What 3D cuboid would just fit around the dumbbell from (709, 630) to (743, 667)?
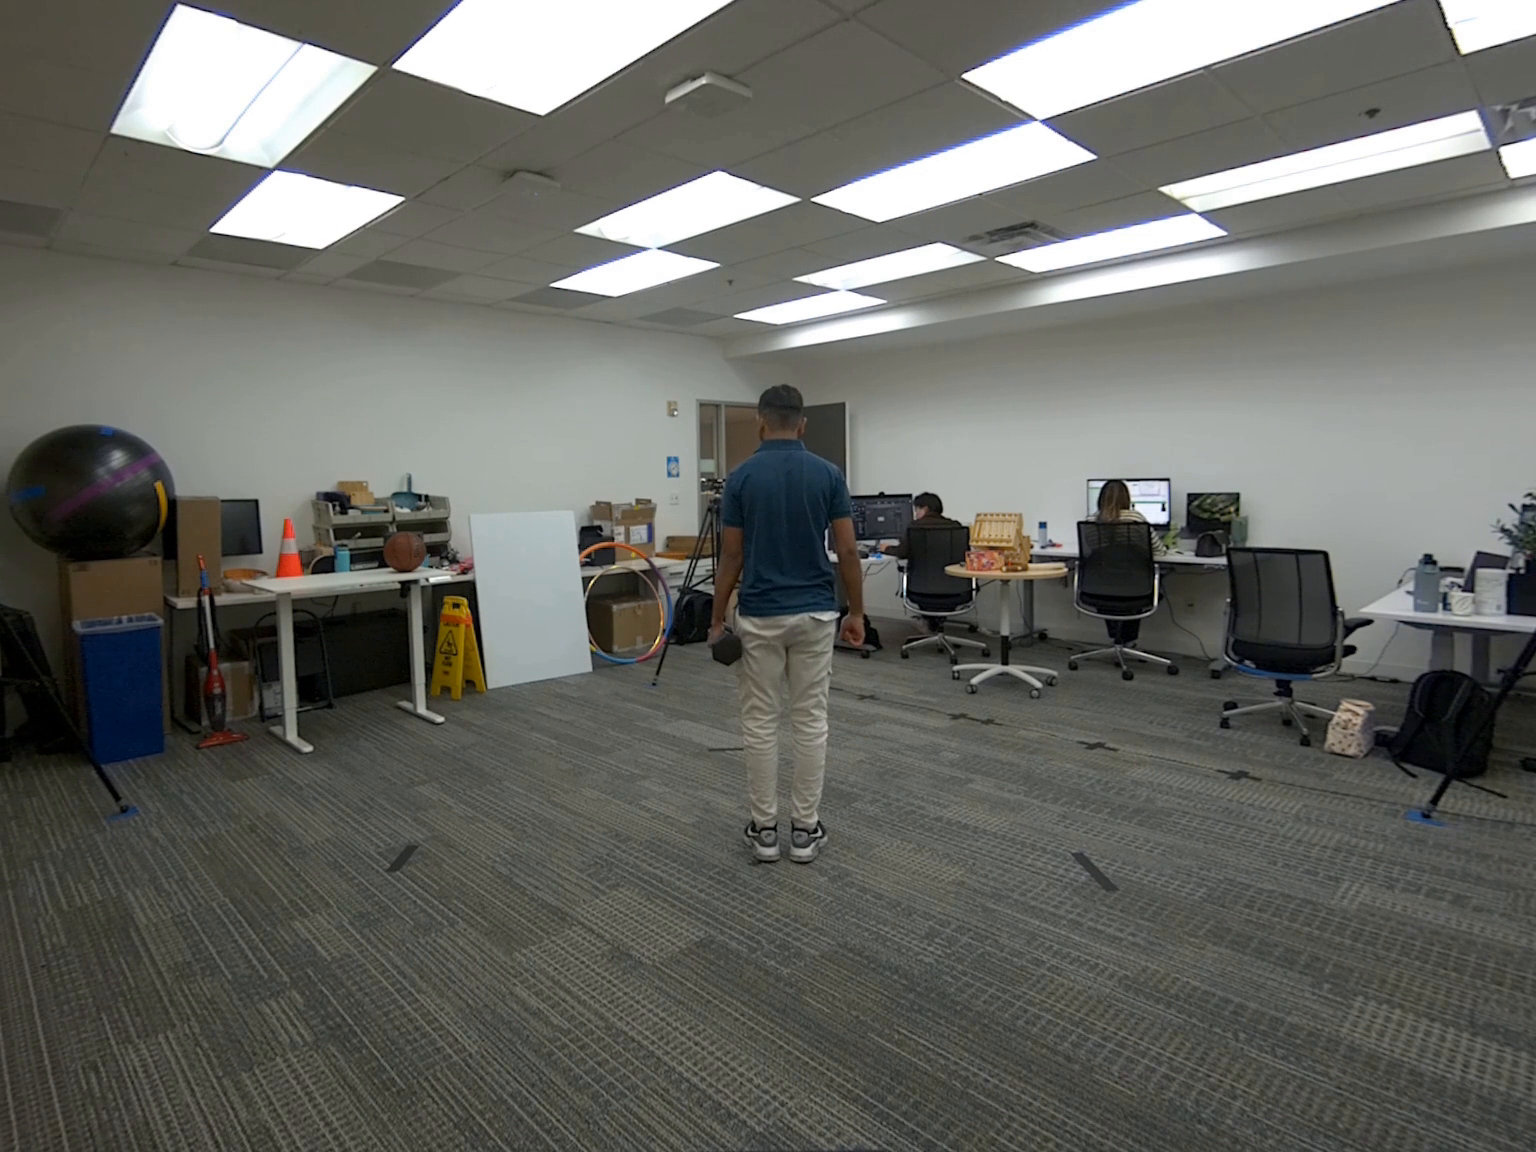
[{"bbox_3d":[-0.163,0.252,3.235,0.108,0.122,0.297,-5,7,-7],"label":"dumbbell"}]
